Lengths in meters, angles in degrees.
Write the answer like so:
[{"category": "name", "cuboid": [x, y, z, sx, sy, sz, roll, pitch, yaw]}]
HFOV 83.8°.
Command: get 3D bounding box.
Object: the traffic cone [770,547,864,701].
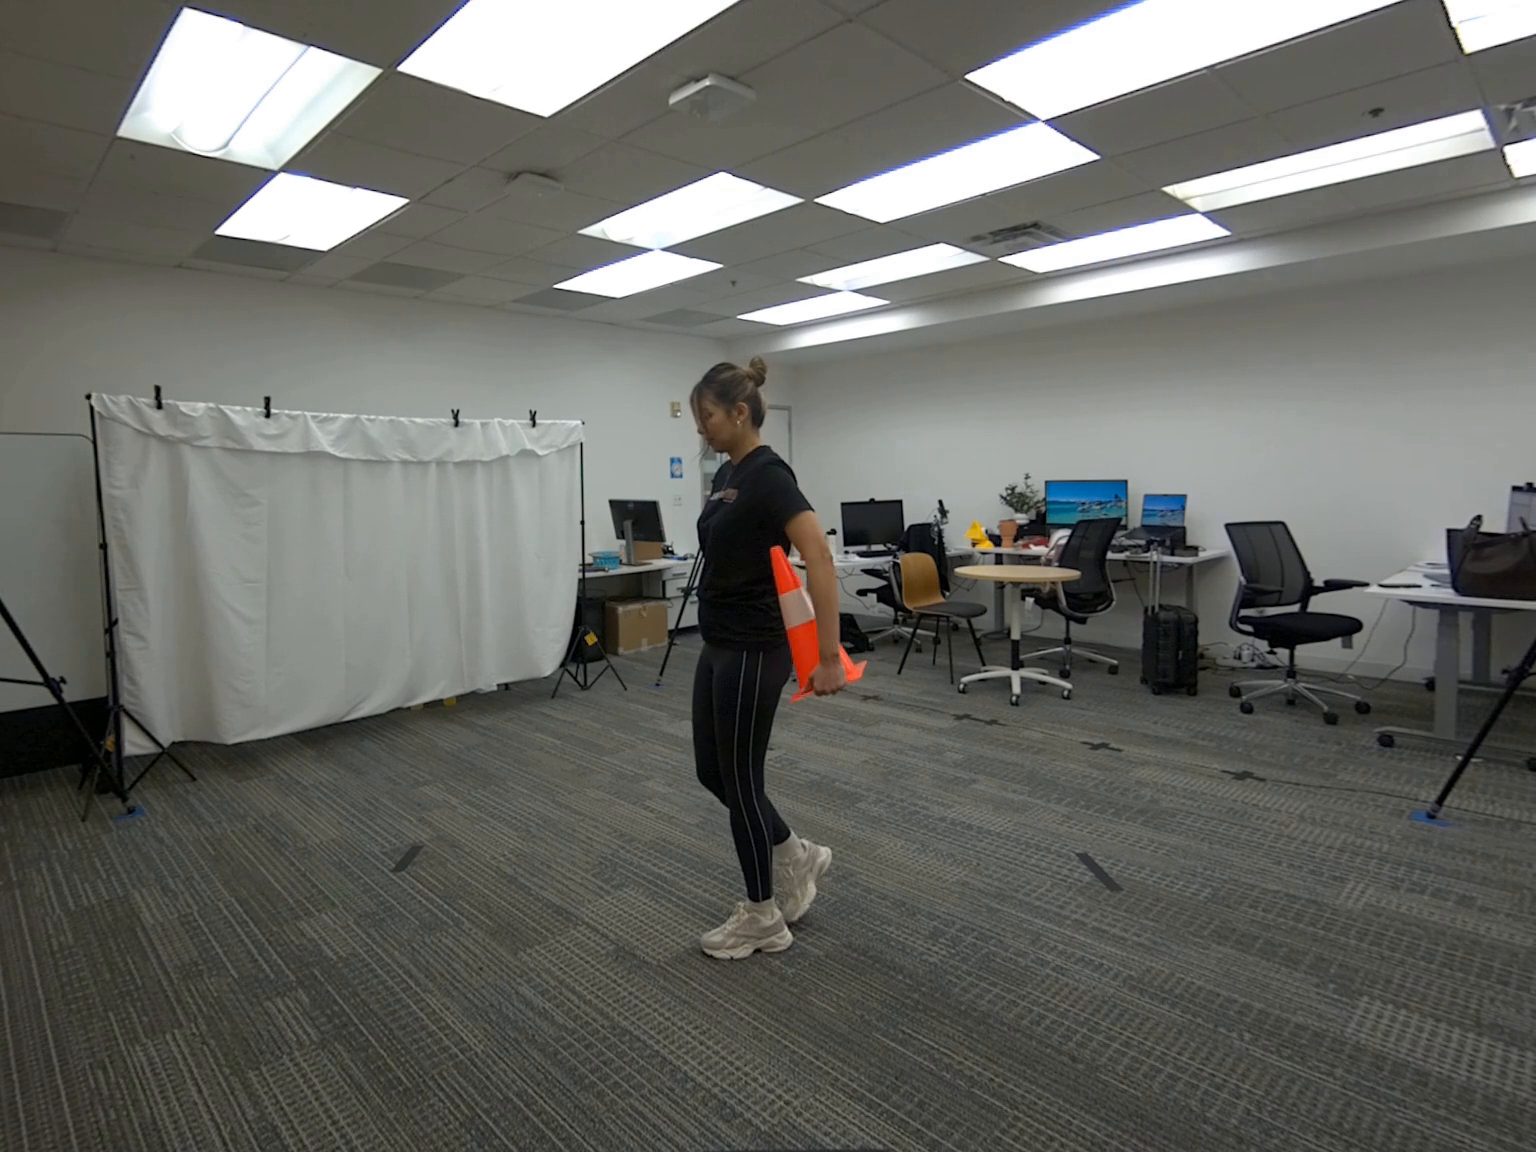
[{"category": "traffic cone", "cuboid": [0.091, 0.104, 2.265, 0.206, 0.387, 0.200, -21, -7, 13]}]
